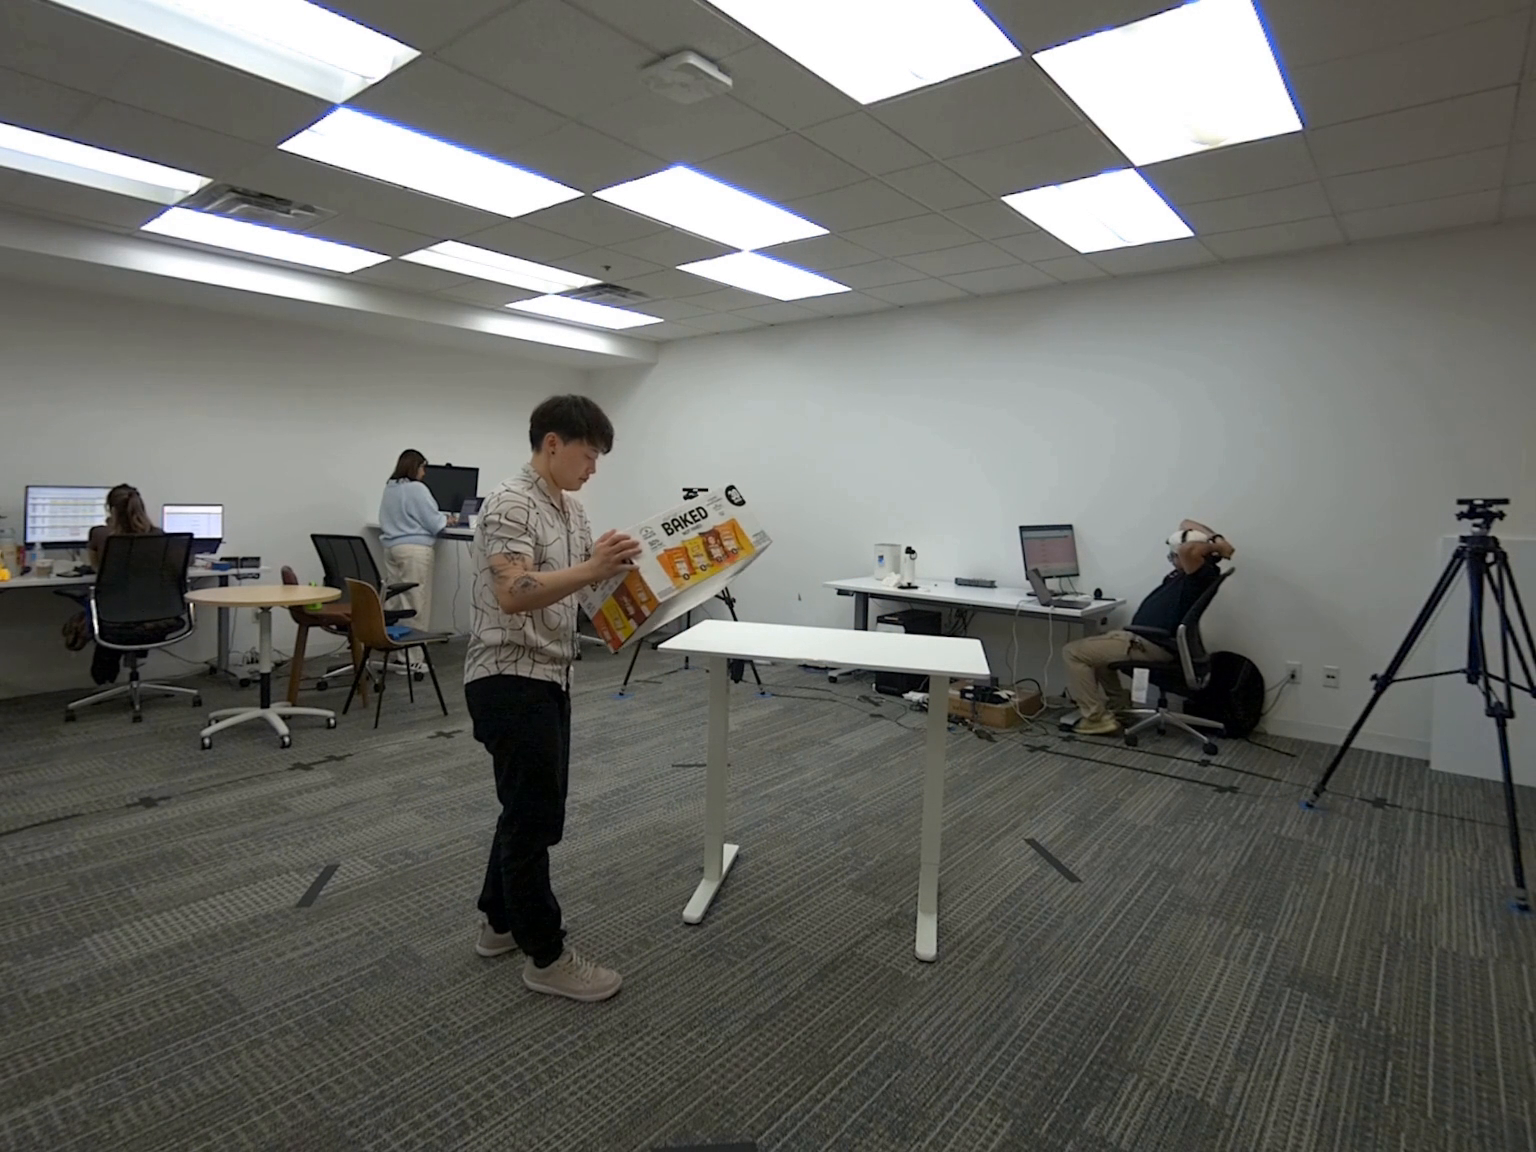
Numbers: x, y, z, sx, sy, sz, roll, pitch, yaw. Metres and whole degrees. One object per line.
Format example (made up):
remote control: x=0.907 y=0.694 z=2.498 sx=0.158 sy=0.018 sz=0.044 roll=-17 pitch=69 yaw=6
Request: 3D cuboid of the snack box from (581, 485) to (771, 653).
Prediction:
snack box: x=-0.261 y=-0.023 z=2.261 sx=0.399 sy=0.208 sz=0.341 roll=-30 pitch=-8 yaw=-39
